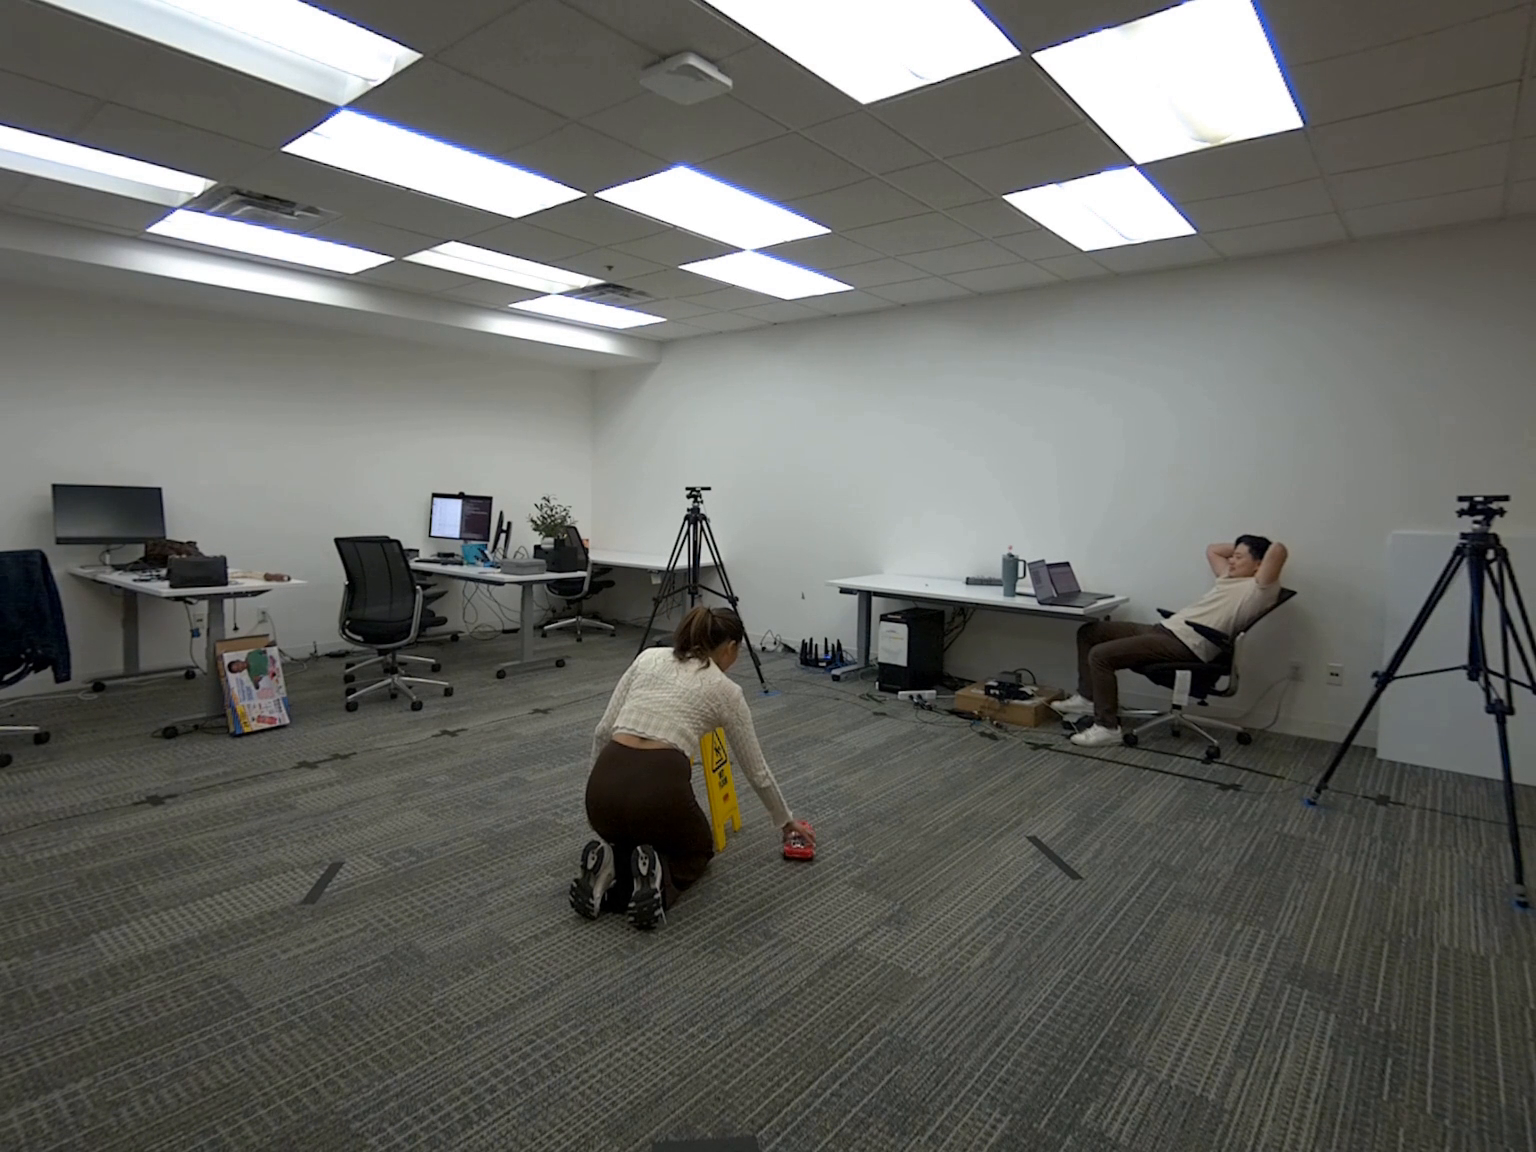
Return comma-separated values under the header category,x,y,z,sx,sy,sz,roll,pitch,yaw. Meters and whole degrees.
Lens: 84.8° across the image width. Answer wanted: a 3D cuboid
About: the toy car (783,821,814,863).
category,x,y,z,sx,sy,sz,roll,pitch,yaw
toy car,0.107,1.024,3.289,0.131,0.082,0.257,0,19,4
